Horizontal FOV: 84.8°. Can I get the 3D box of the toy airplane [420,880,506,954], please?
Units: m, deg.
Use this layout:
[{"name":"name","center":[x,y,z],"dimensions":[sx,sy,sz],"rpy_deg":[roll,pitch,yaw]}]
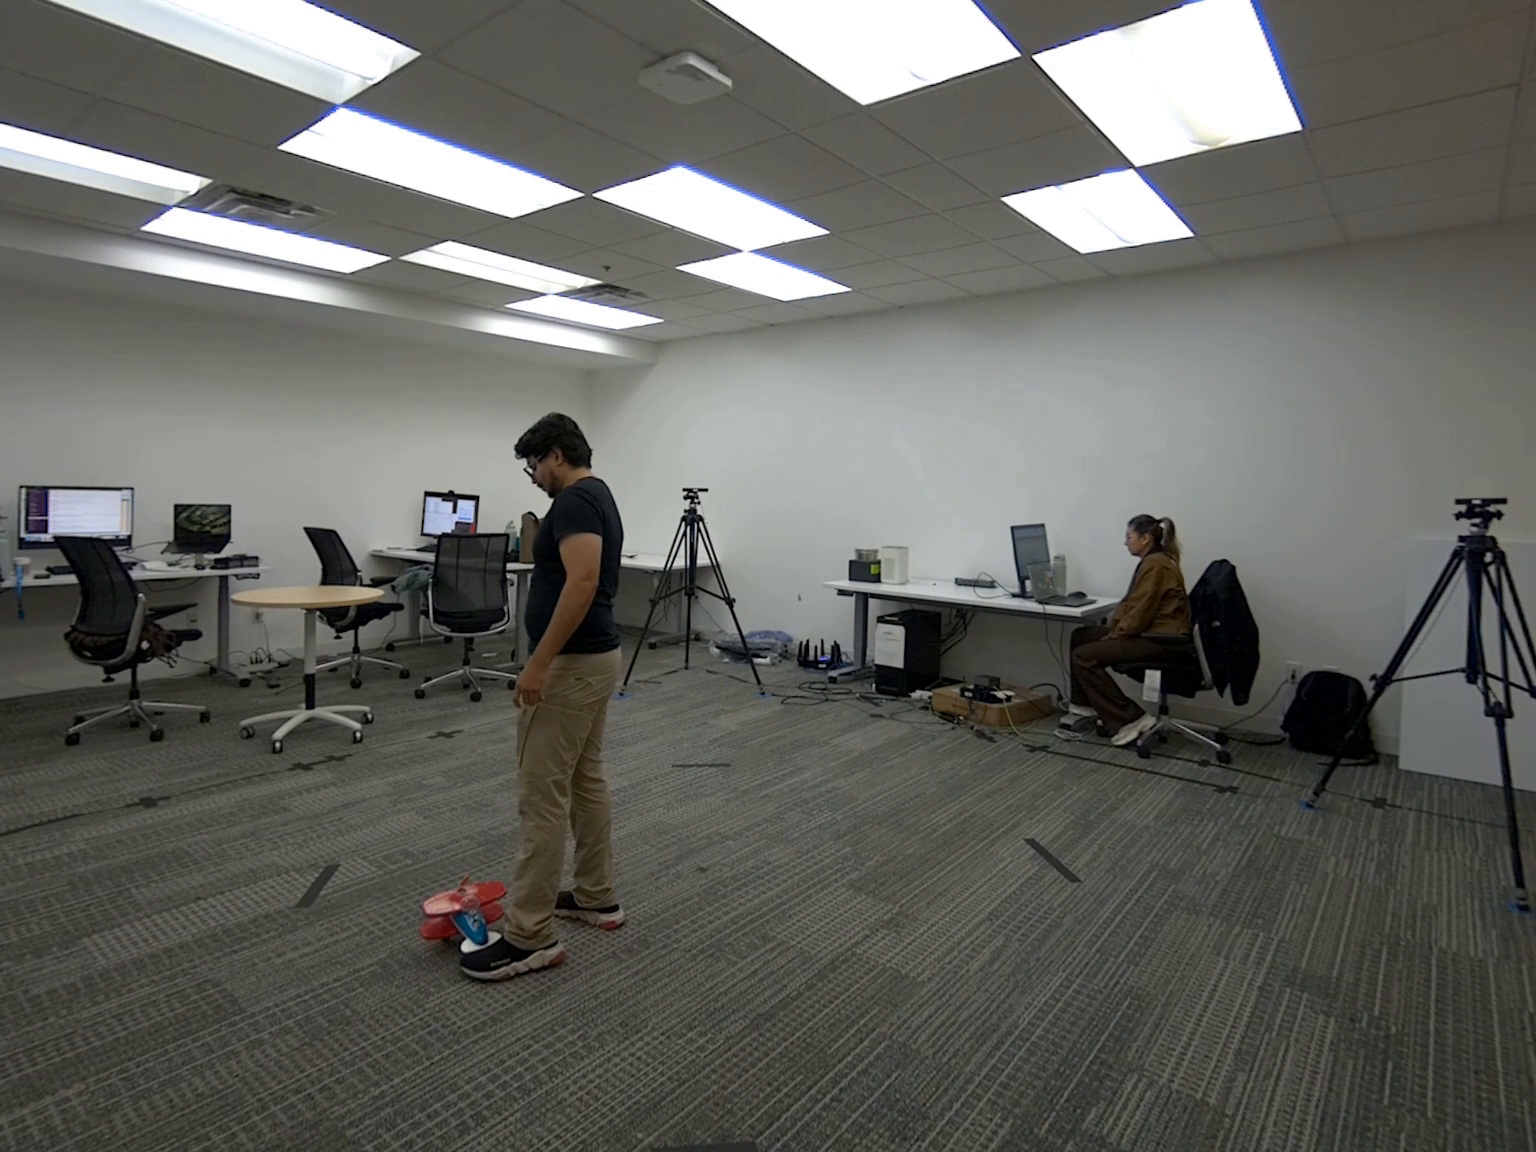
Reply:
[{"name":"toy airplane","center":[-0.900,1.036,2.578],"dimensions":[0.265,0.156,0.246],"rpy_deg":[1,6,23]}]
